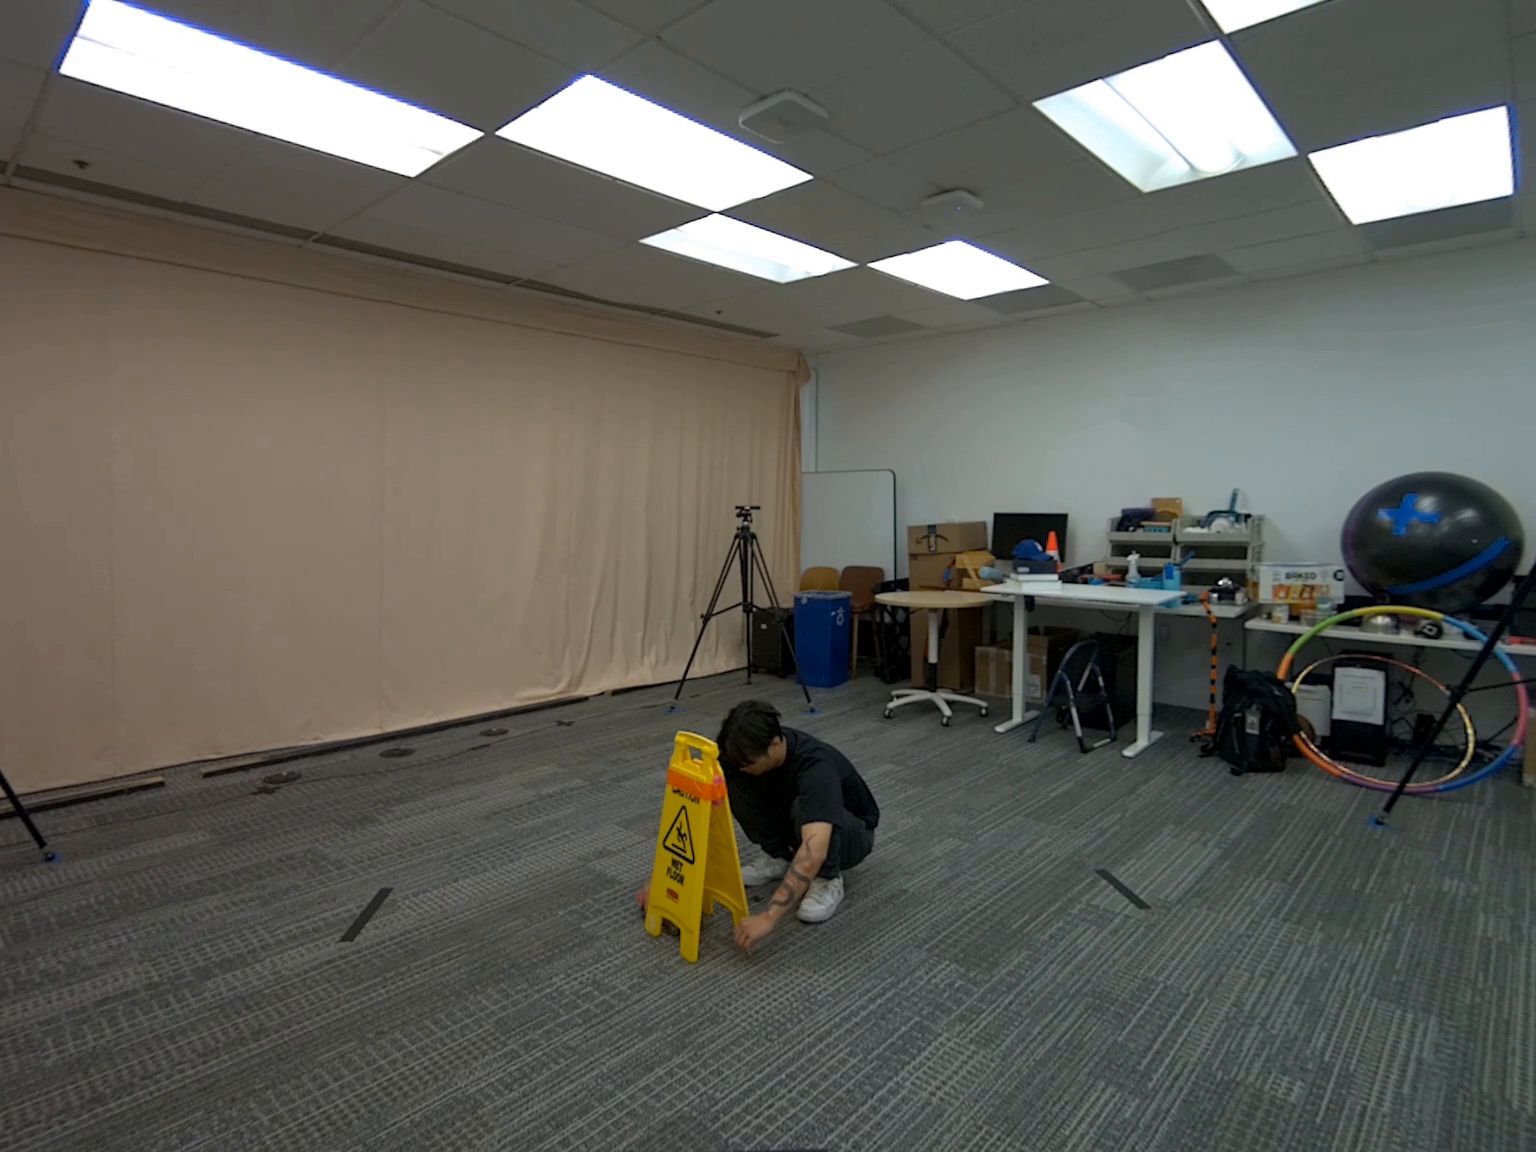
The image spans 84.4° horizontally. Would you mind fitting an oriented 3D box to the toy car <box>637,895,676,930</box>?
[{"bbox_3d":[-0.322,1.137,2.843,0.264,0.083,0.126,17,15,42],"label":"toy car"}]
